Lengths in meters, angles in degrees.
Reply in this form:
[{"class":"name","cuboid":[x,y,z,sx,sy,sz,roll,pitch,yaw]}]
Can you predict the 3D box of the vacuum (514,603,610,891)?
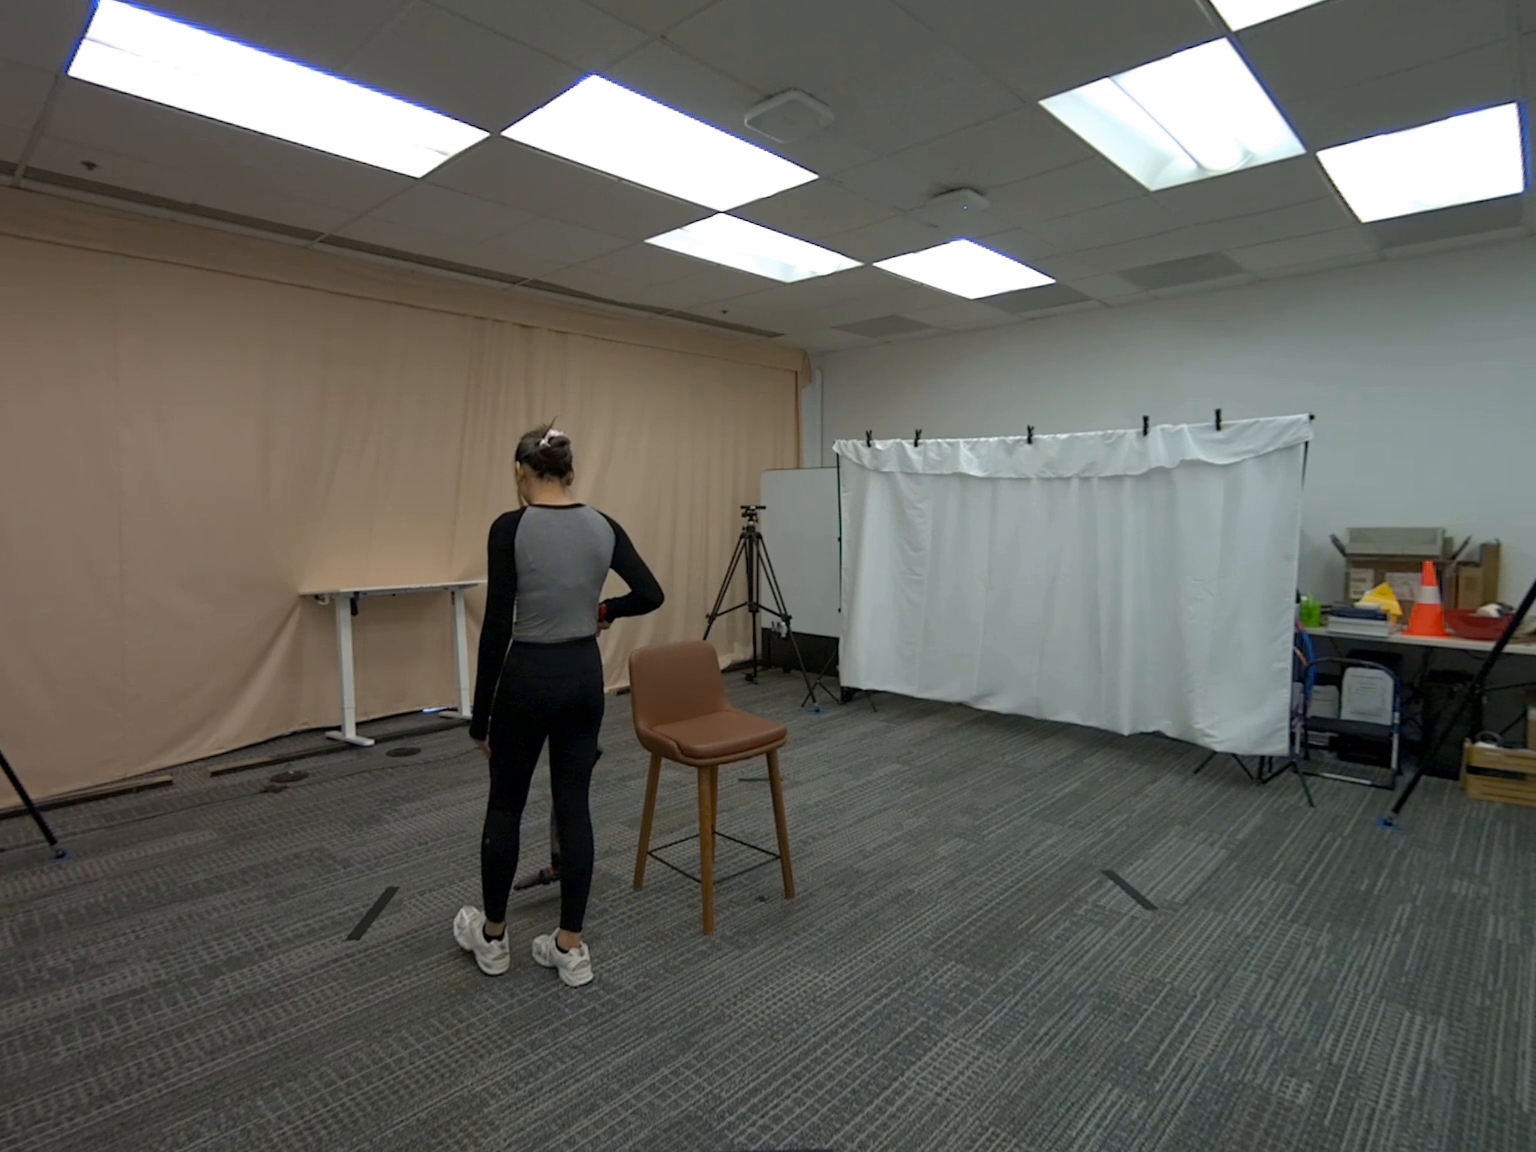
[{"class":"vacuum","cuboid":[-0.641,0.572,2.775,0.245,1.042,0.149,-1,24,-38]}]
